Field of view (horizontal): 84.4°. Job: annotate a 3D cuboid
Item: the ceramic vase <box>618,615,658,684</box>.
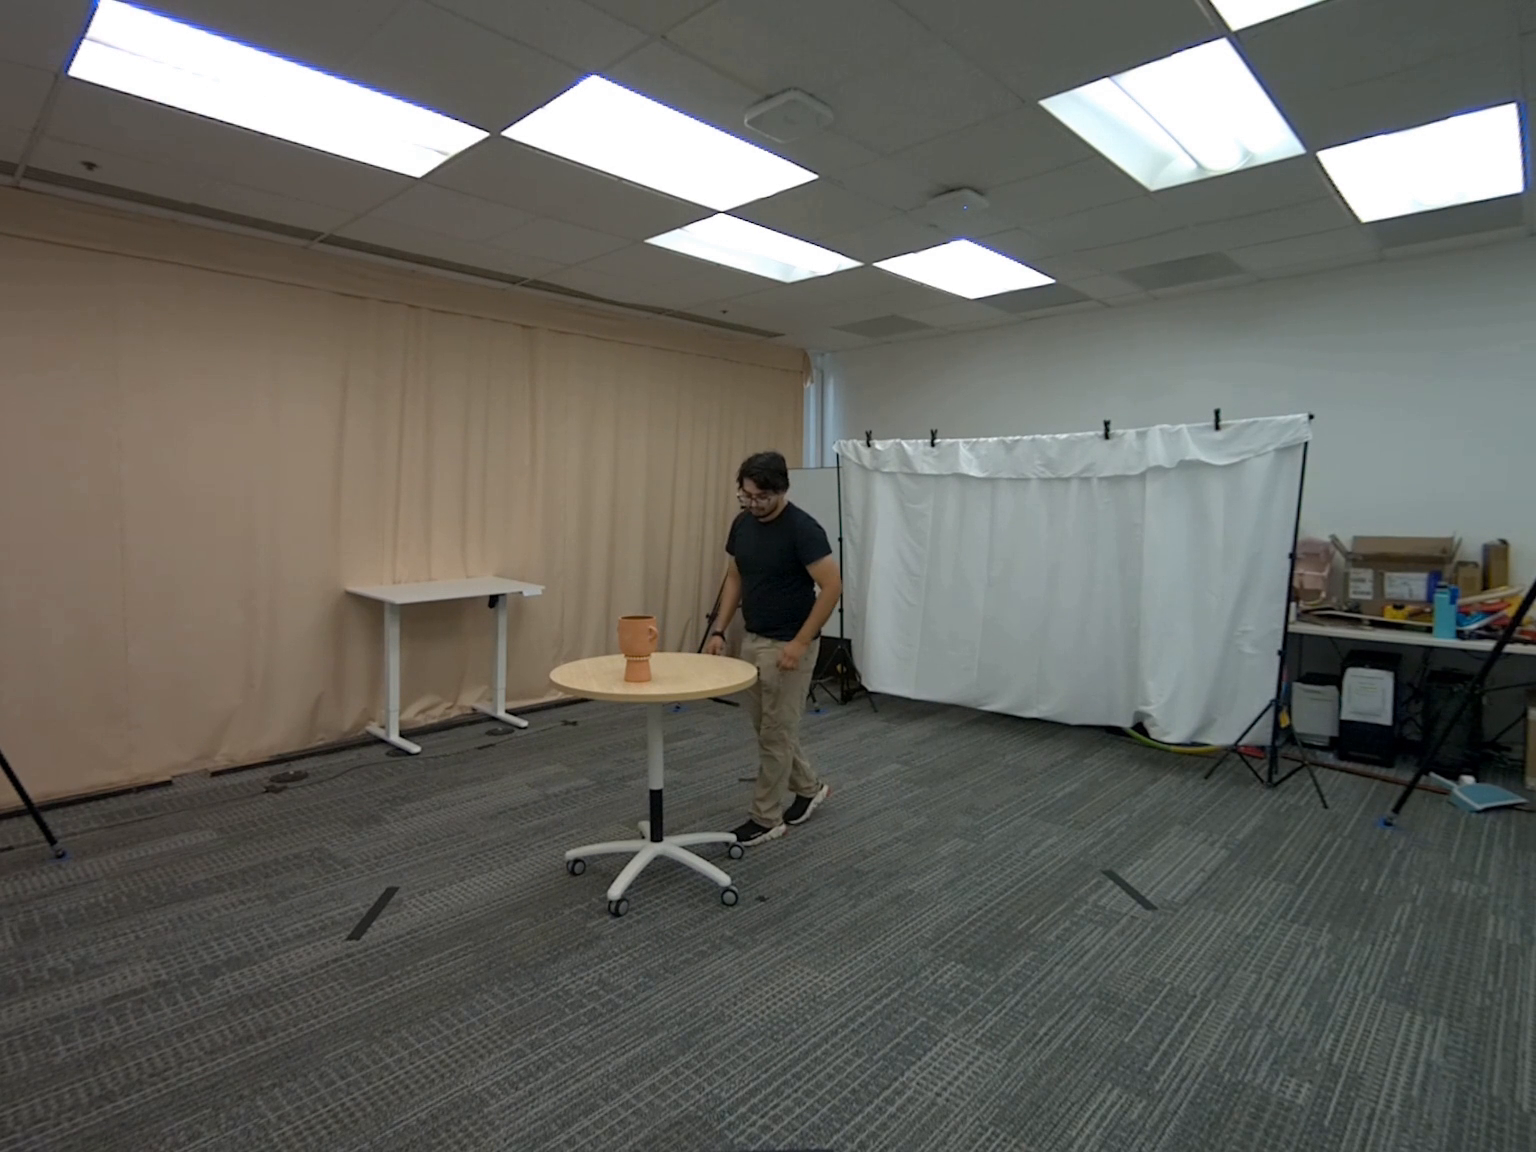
[{"bbox_3d":[-0.459,0.258,2.963,0.133,0.219,0.161,-1,4,-14],"label":"ceramic vase"}]
